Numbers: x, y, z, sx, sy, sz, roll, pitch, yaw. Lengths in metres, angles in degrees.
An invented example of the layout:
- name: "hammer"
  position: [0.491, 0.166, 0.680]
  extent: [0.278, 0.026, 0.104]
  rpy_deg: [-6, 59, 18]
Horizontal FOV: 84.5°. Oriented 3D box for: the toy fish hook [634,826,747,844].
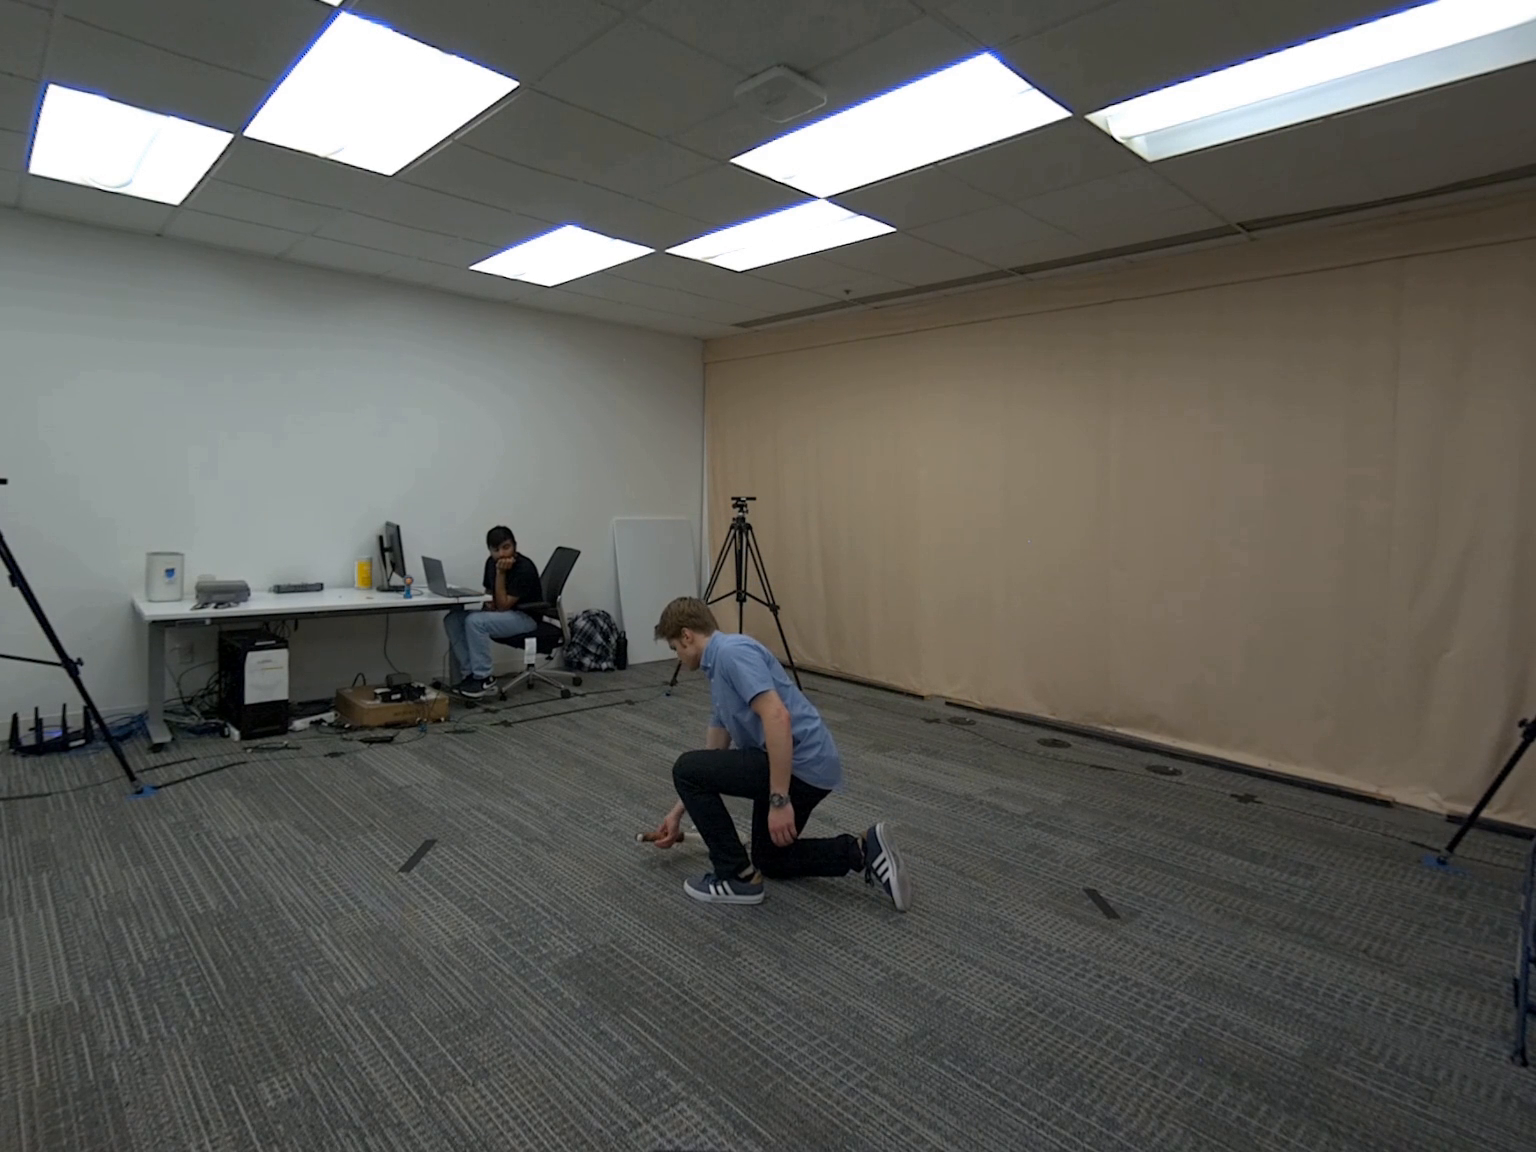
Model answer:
- name: "toy fish hook"
  position: [-0.313, 1.031, 3.346]
  extent: [0.495, 0.048, 0.229]
  rpy_deg: [11, -7, -30]
